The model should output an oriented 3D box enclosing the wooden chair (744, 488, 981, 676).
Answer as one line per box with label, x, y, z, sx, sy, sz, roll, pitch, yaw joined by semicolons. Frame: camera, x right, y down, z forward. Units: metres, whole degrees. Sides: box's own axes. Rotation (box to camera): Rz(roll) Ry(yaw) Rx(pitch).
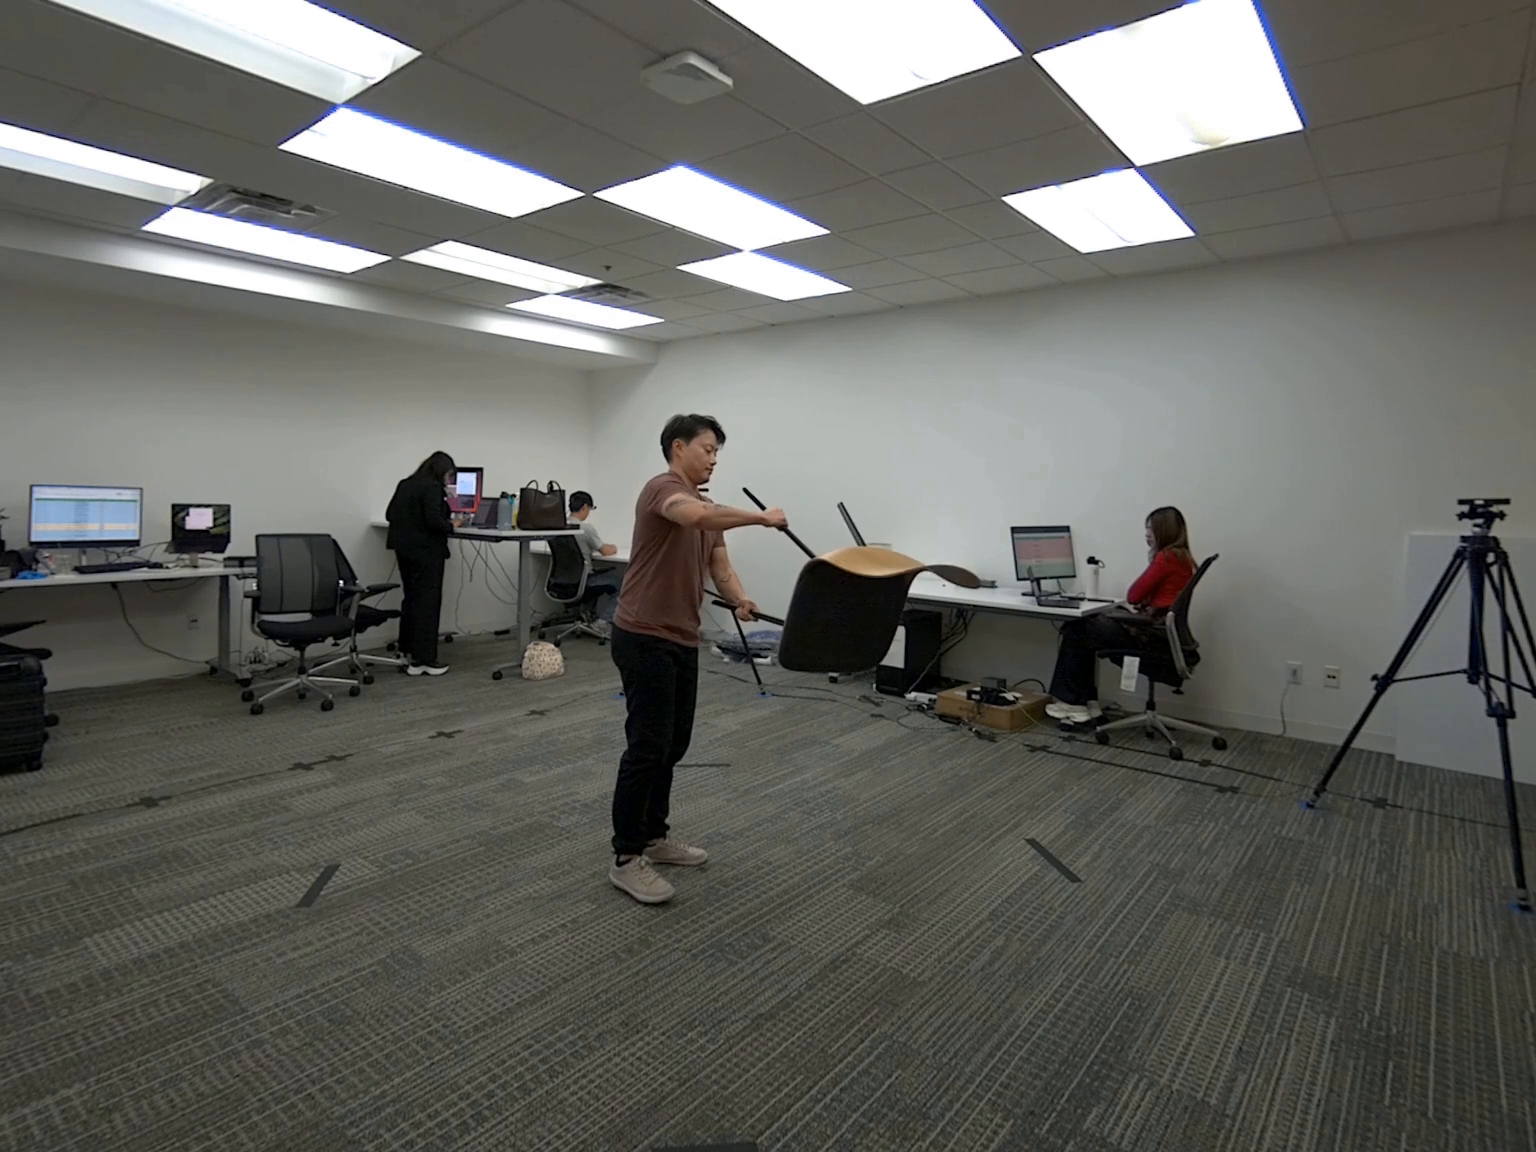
wooden chair;0.233;0.078;2.864;0.464;0.519;0.911;7;15;-30
